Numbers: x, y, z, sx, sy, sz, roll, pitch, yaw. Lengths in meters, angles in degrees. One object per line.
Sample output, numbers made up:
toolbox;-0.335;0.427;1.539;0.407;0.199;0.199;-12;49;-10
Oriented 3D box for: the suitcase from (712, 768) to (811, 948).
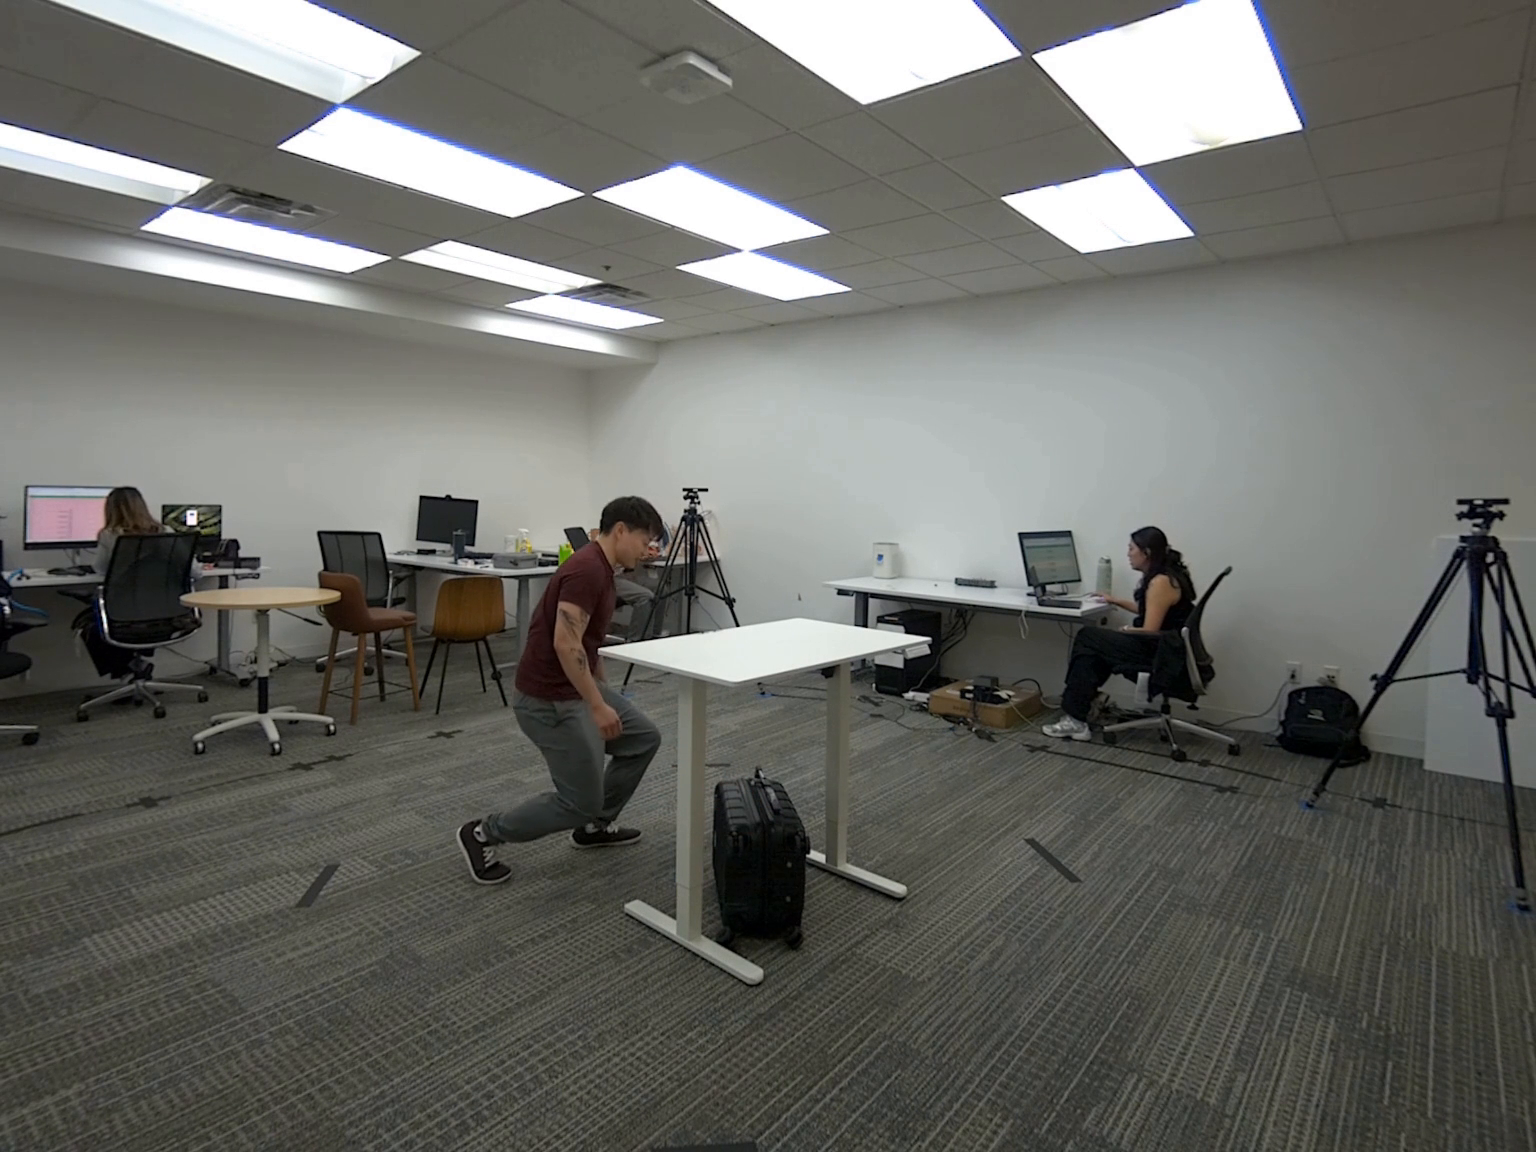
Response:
suitcase;-0.089;0.891;3.027;0.254;0.383;0.991;2;4;-10
